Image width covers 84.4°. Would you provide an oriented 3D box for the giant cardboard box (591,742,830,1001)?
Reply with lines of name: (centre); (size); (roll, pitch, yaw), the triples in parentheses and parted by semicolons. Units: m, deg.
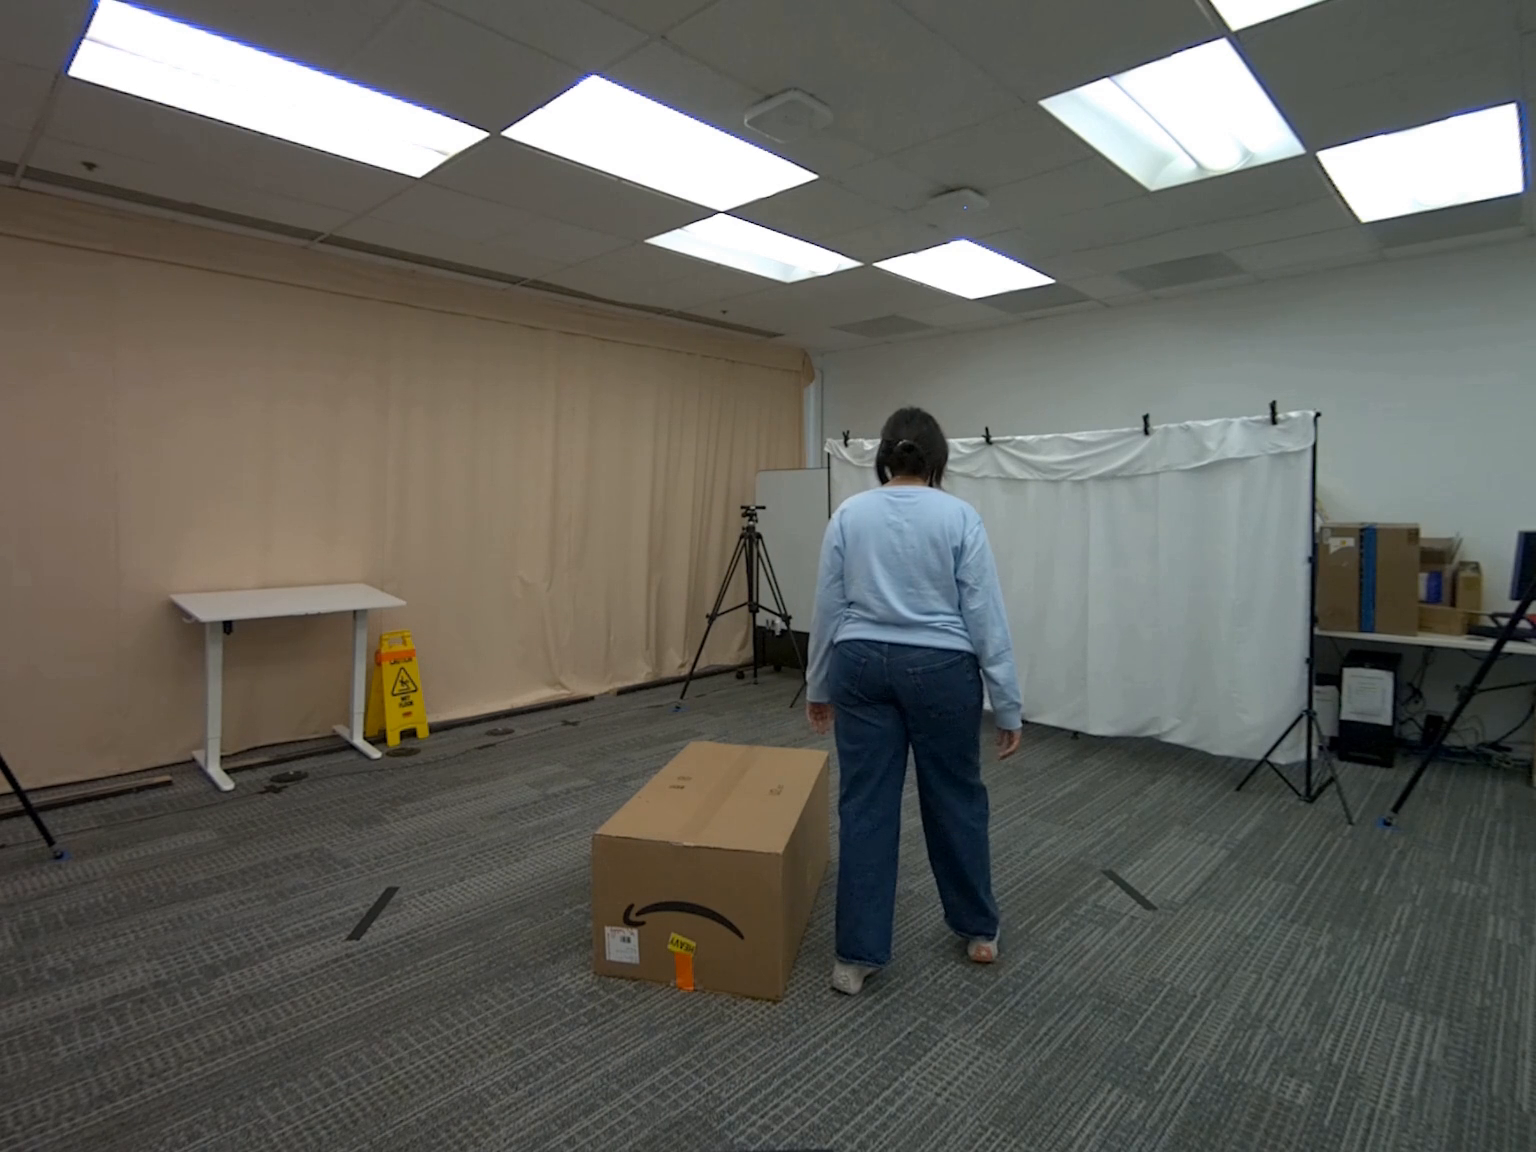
giant cardboard box: (-0.137, 0.933, 2.912); (0.586, 0.425, 1.013); (1, 5, 13)
